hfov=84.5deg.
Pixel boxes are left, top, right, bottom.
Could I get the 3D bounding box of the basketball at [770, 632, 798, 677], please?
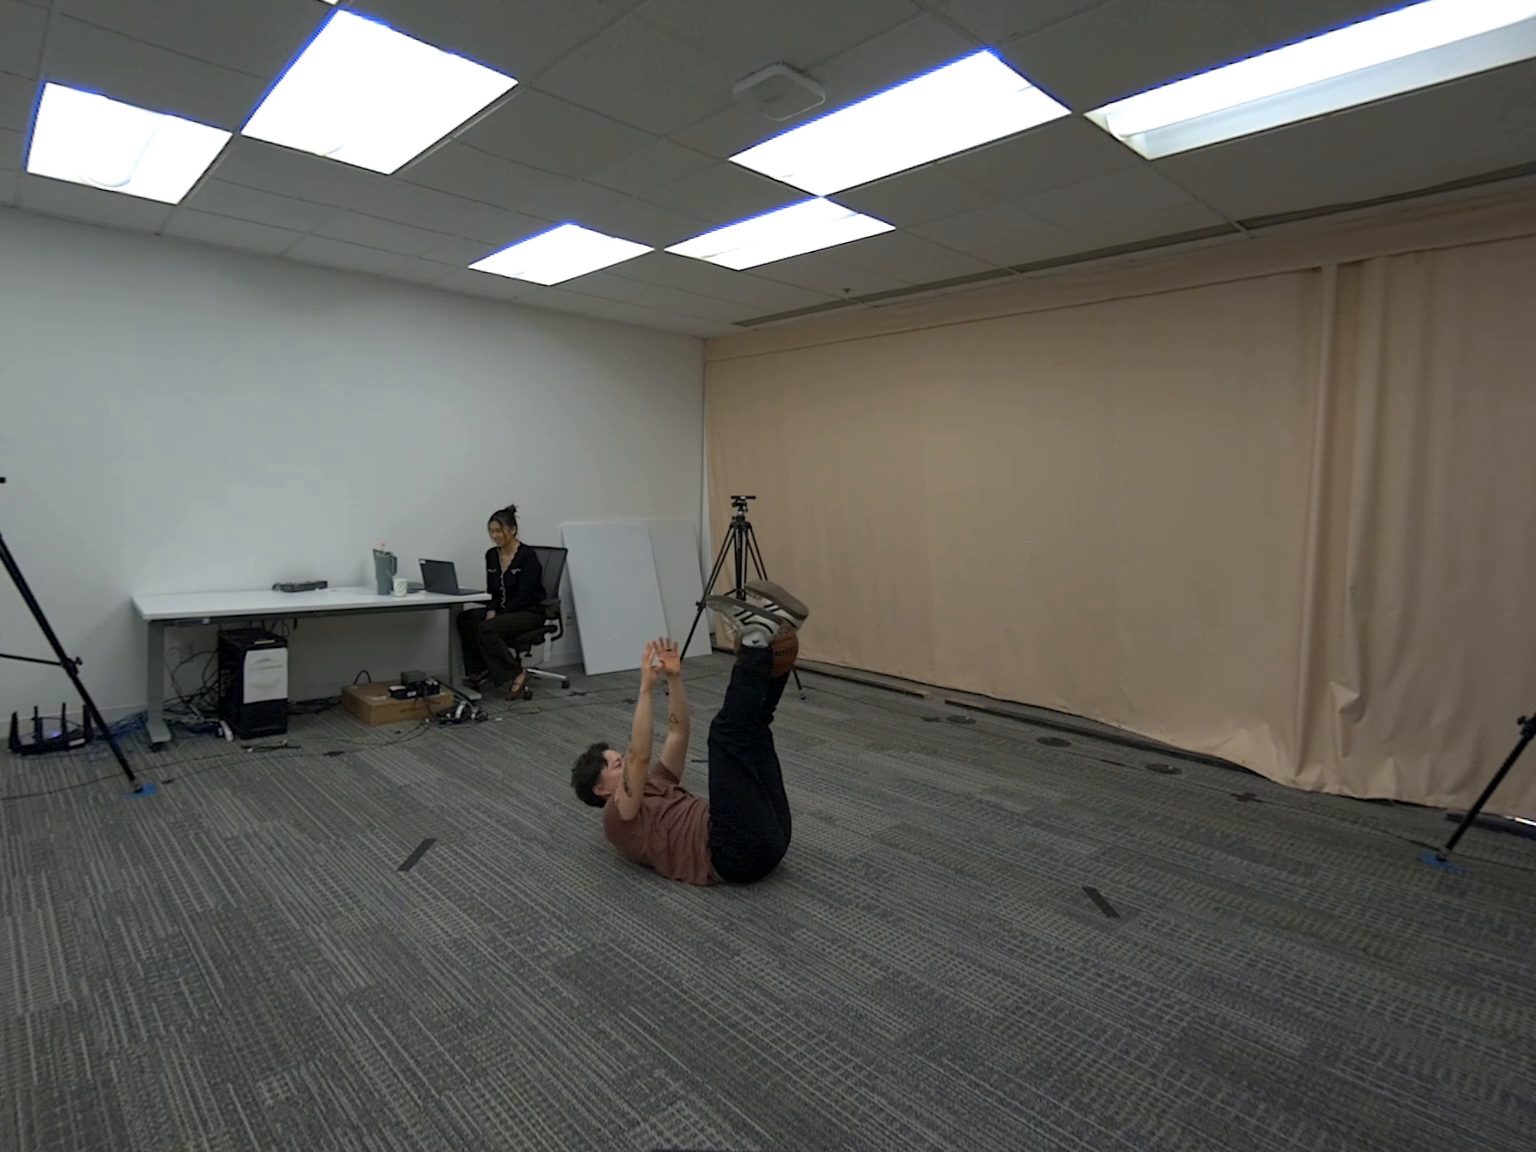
[{"bbox_3d":[-0.003,0.261,3.063,0.236,0.234,0.237,0,8,-1],"label":"basketball"}]
